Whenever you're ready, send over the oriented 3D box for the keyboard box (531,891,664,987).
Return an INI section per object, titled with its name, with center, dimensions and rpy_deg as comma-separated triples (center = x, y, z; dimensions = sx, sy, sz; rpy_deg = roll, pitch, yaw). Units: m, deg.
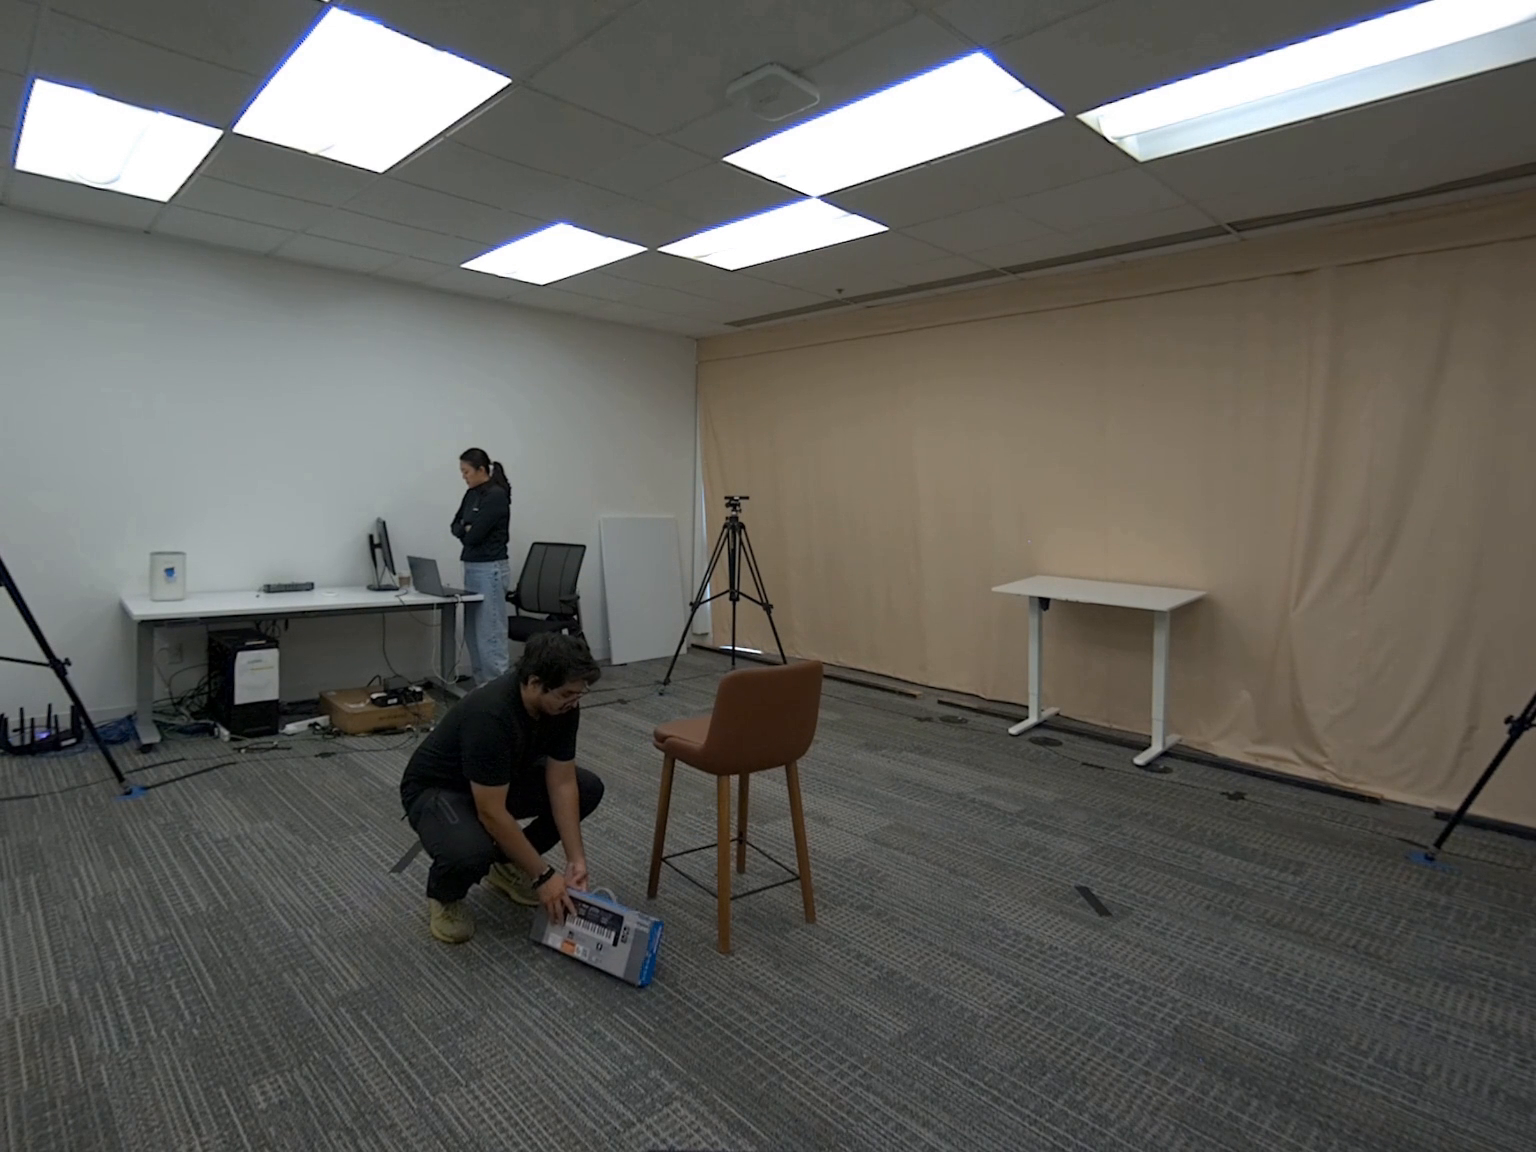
[keyboard box]
center = -0.530, 1.065, 2.511
dimensions = 0.447, 0.177, 0.057
rpy_deg = 5, -19, 34
